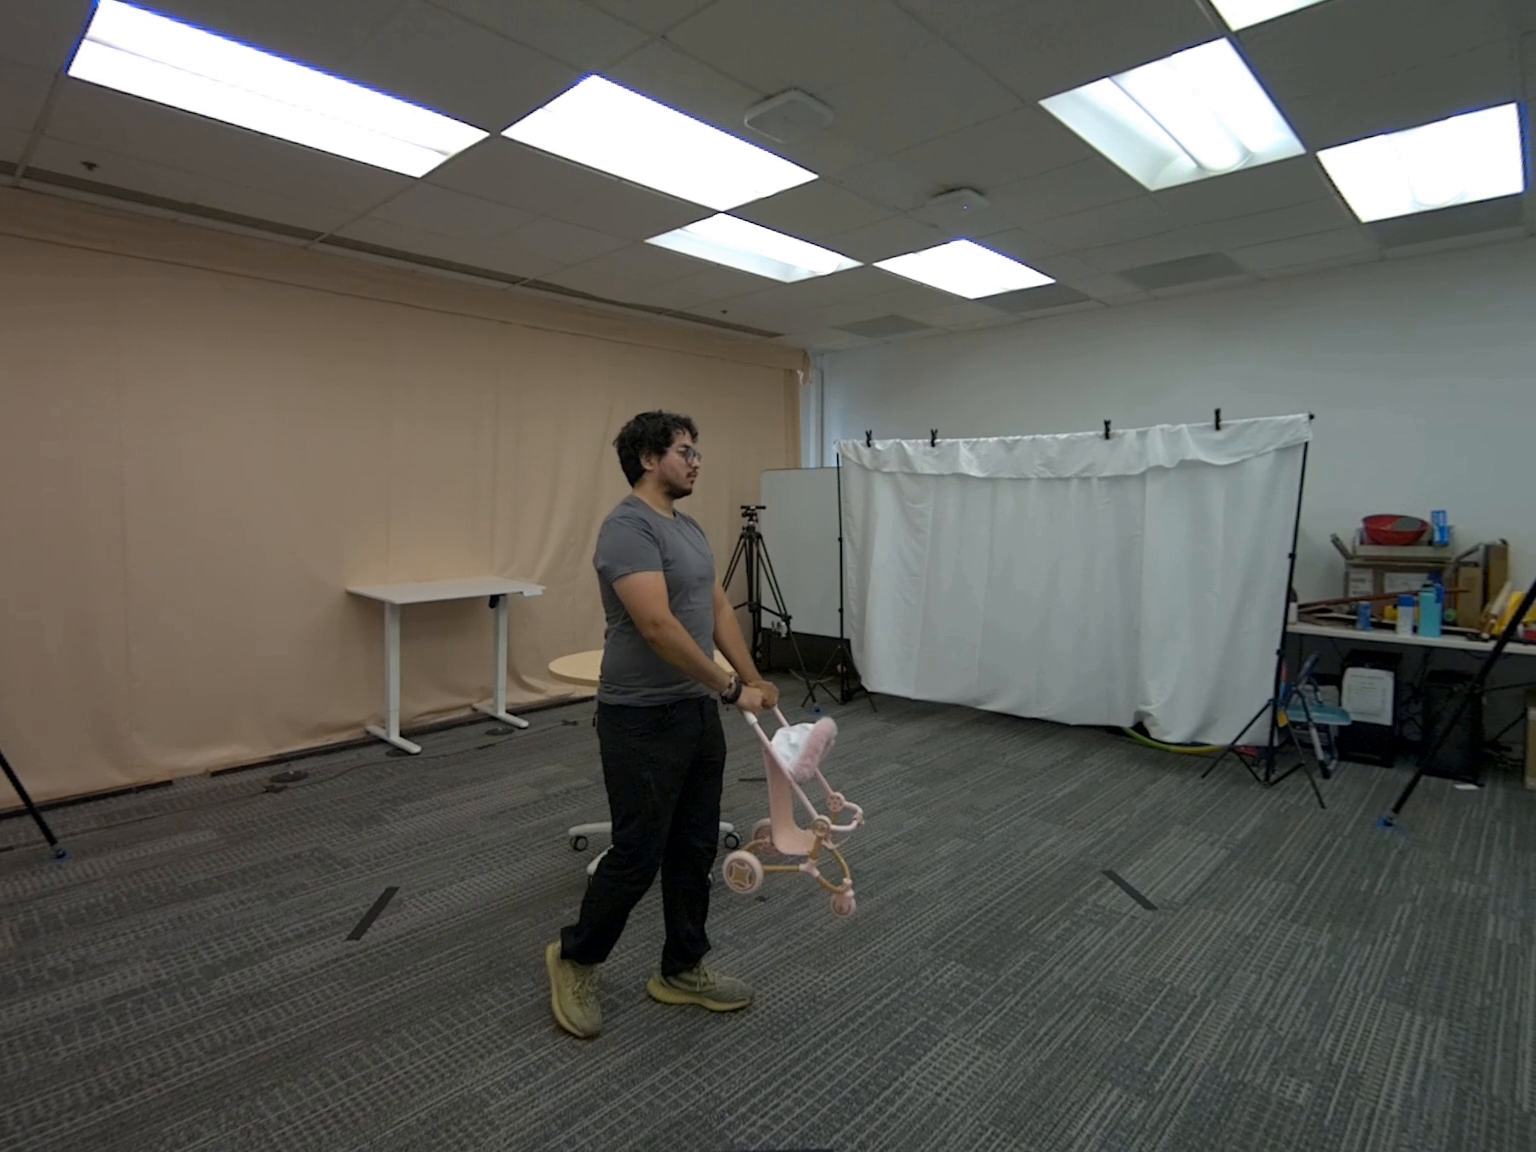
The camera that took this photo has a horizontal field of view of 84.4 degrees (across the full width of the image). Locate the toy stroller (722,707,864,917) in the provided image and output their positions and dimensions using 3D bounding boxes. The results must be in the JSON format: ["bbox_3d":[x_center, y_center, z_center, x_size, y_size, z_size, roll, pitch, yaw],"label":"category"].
[{"bbox_3d":[0.088,0.607,2.179,0.350,0.534,0.275,6,4,23],"label":"toy stroller"}]
